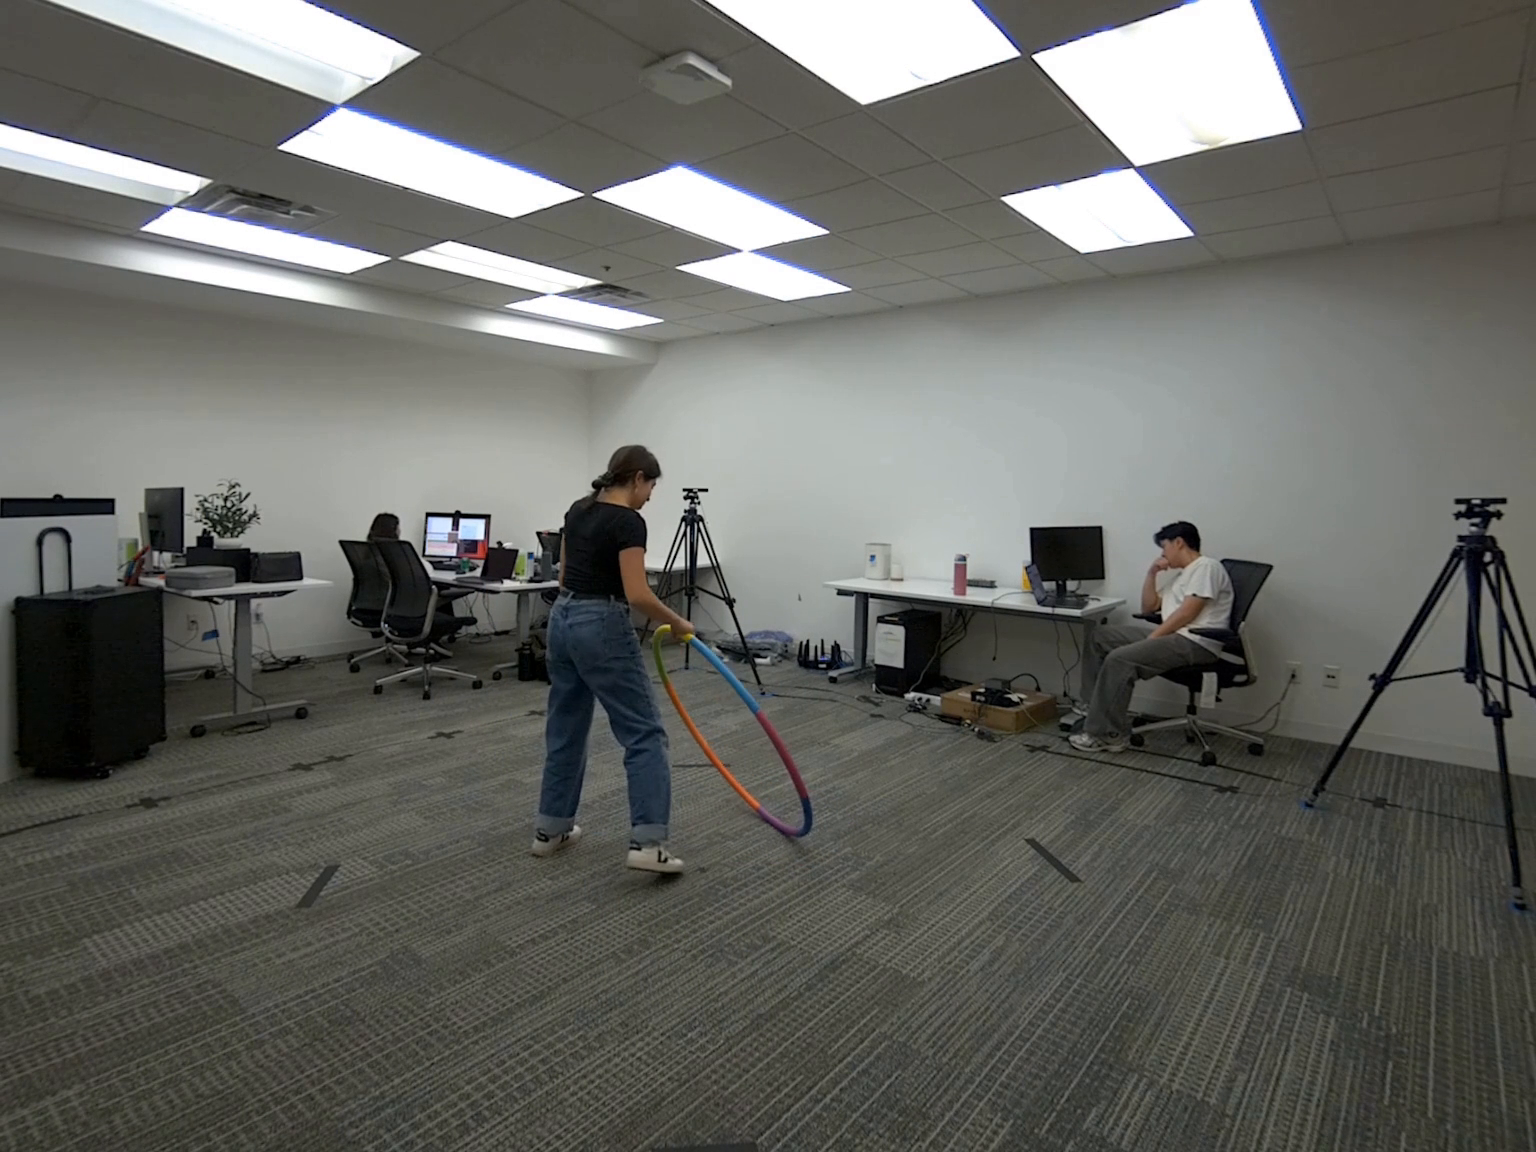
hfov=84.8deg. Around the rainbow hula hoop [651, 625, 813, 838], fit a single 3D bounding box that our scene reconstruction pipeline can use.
[{"bbox_3d":[-0.158,0.611,3.381,0.035,0.957,1.008,-34,19,-23],"label":"rainbow hula hoop"}]
